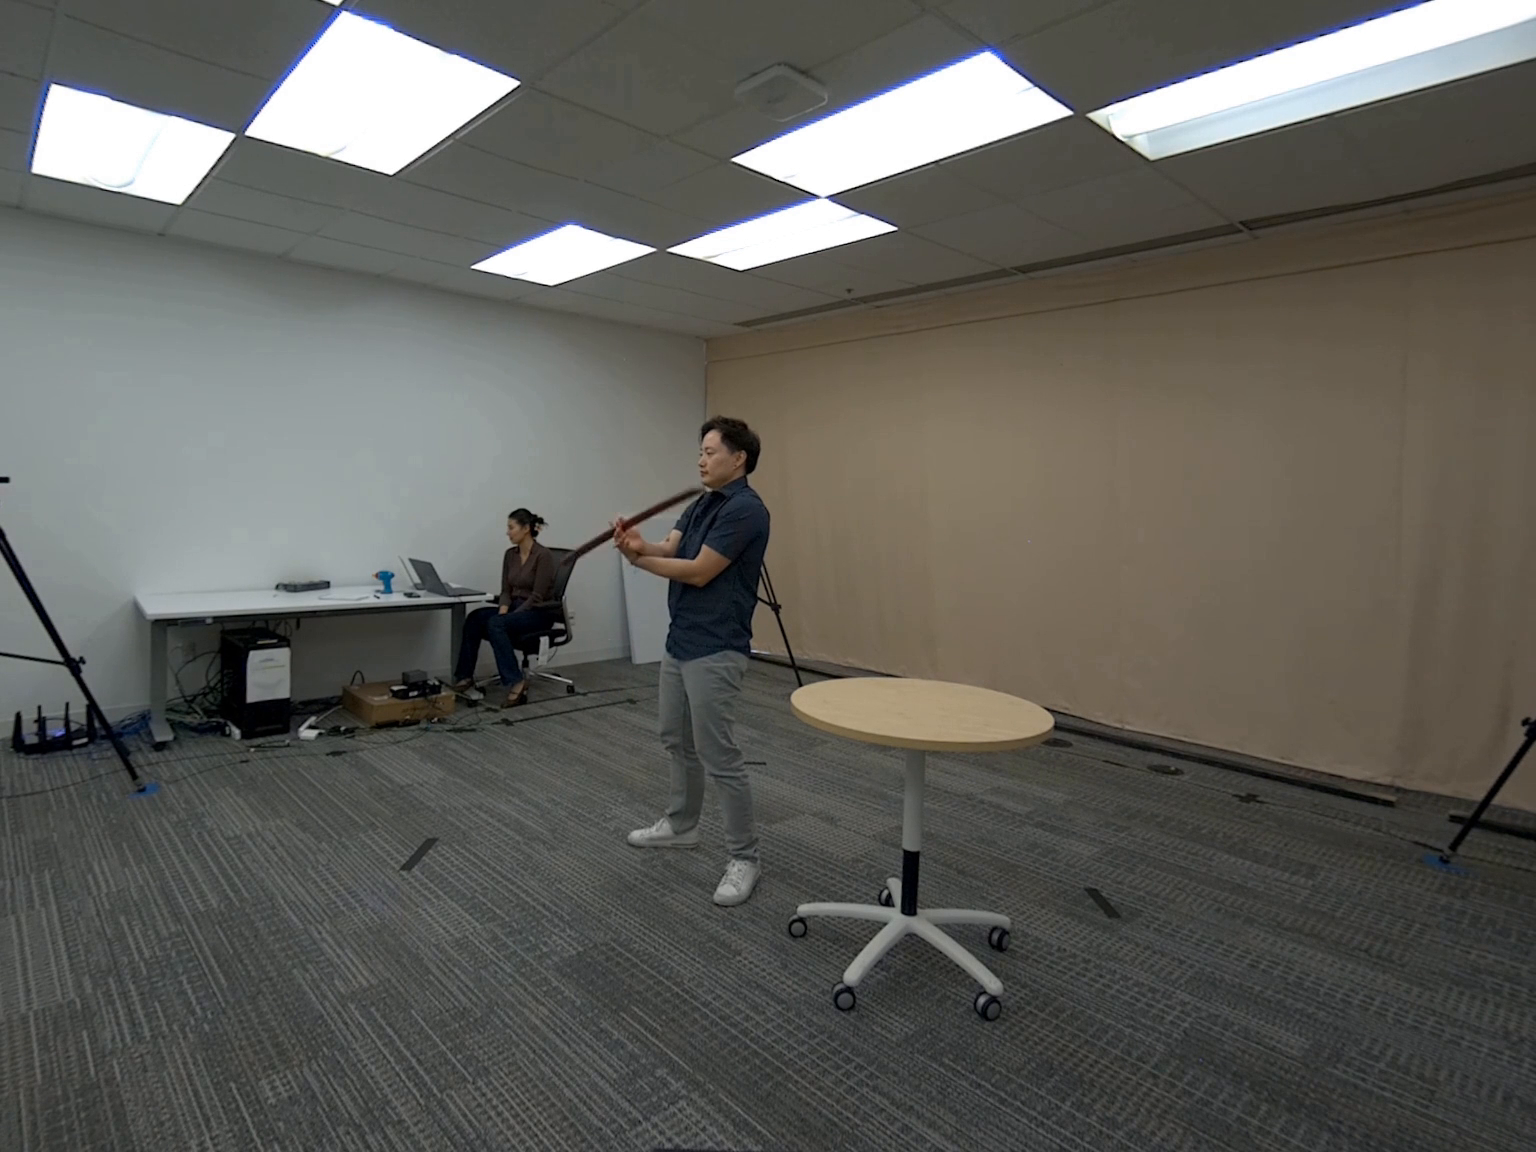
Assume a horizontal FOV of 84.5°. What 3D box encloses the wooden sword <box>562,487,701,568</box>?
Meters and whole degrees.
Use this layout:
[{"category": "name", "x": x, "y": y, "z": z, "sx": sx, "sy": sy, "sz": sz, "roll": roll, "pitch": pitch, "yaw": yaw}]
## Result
[{"category": "wooden sword", "x": -0.530, "y": -0.150, "z": 2.900, "sx": 0.050, "sy": 0.024, "sz": 1.038, "roll": 7, "pitch": -16, "yaw": -35}]
